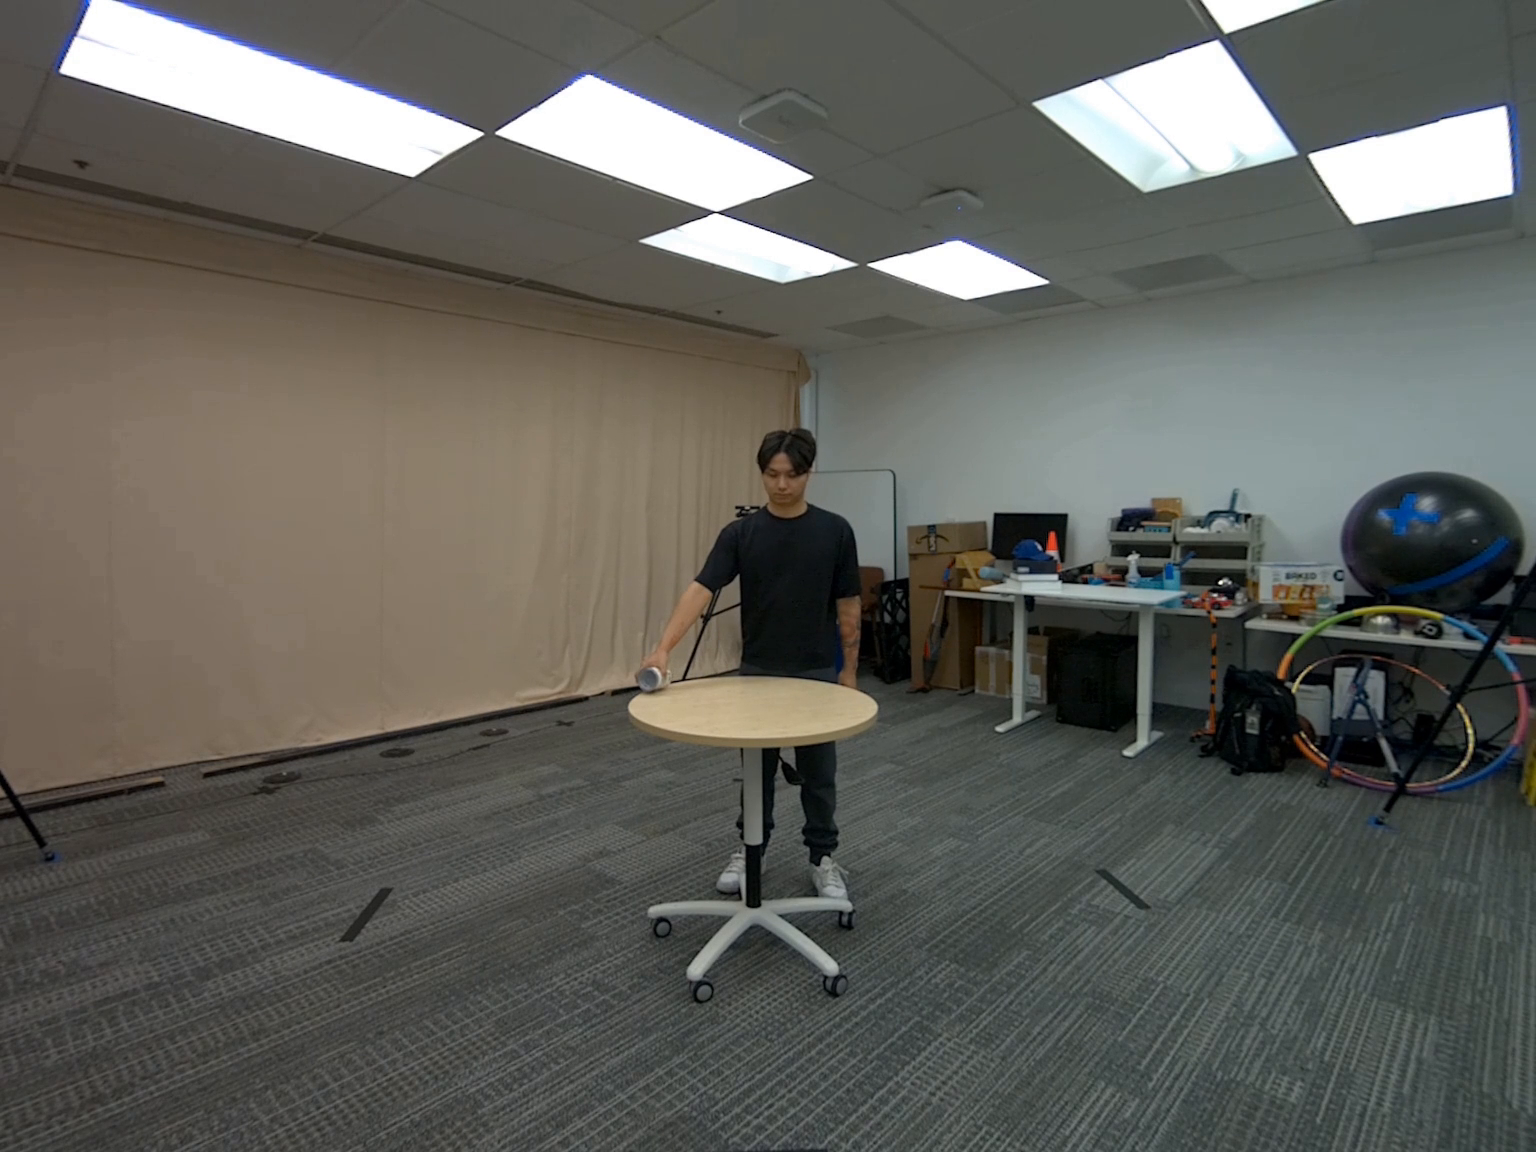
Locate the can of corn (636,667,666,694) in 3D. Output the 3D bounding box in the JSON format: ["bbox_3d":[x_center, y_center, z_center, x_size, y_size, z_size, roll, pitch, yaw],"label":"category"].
[{"bbox_3d":[-0.360,0.333,2.769,0.075,0.074,0.109,1,0,13],"label":"can of corn"}]
